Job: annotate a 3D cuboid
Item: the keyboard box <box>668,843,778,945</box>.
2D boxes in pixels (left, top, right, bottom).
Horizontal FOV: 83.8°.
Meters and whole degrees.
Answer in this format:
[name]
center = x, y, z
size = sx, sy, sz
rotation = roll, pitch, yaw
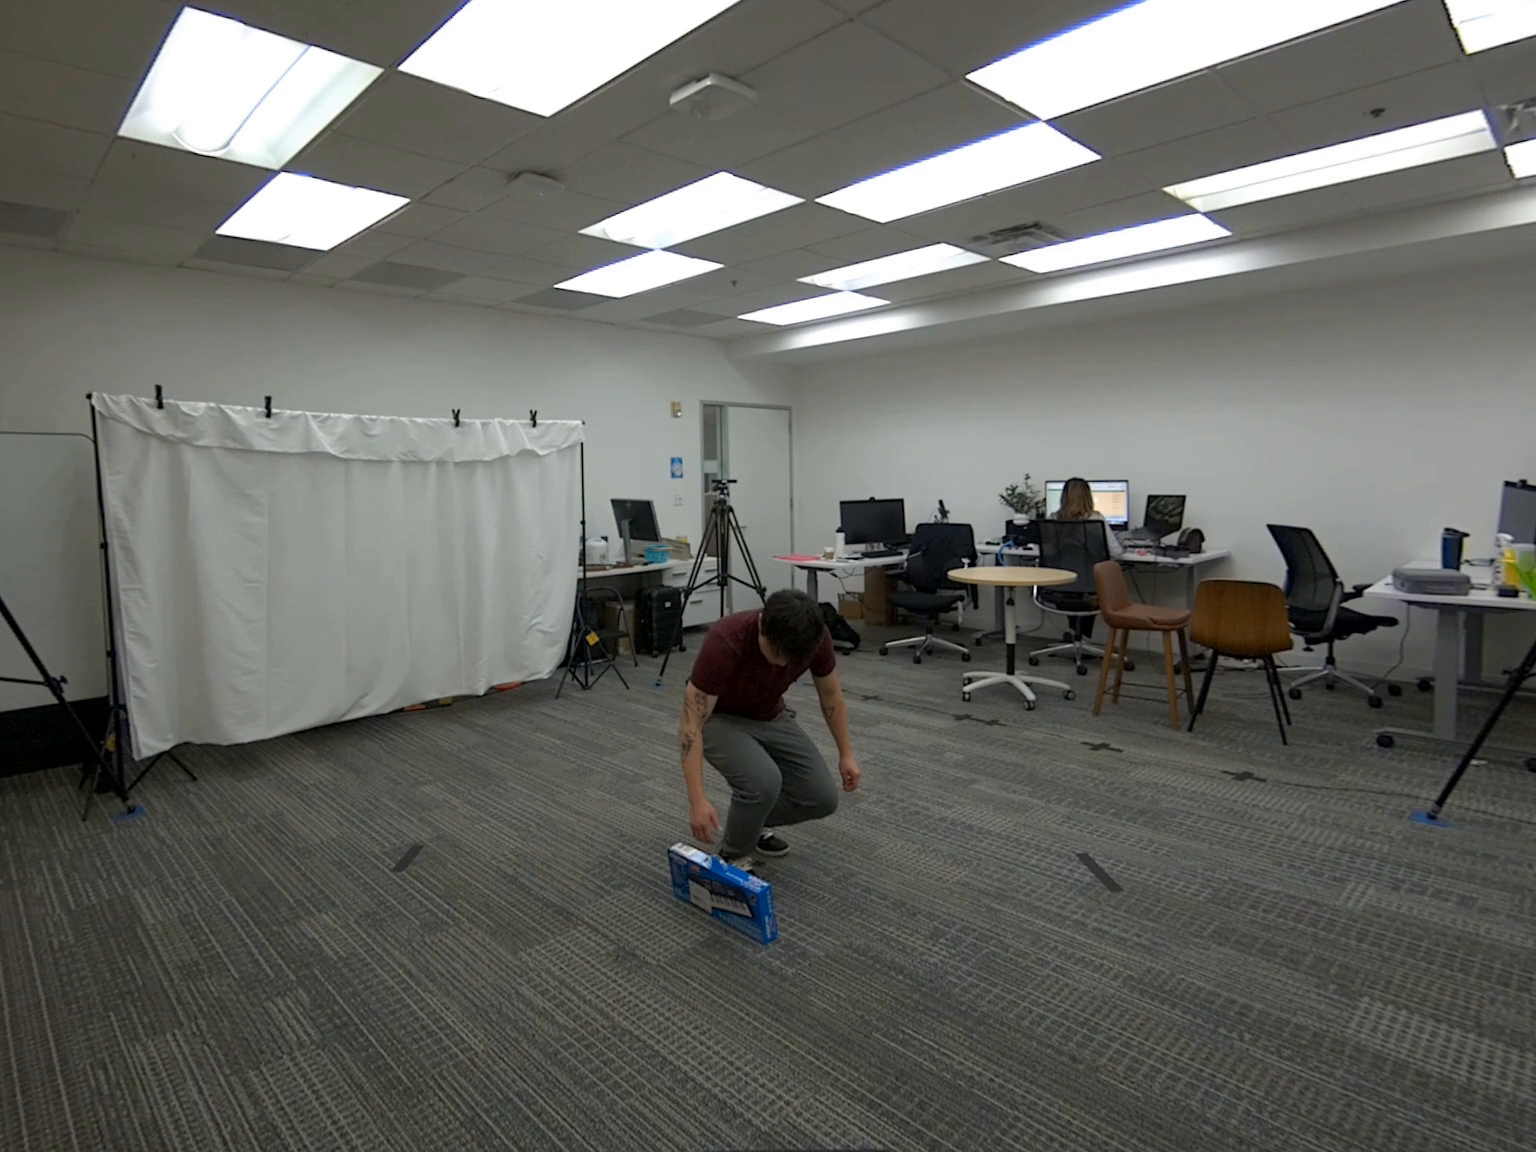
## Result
[keyboard box]
center = -0.152, 1.009, 2.732
size = 0.058, 0.174, 0.450
rotation = -16, 15, -41
